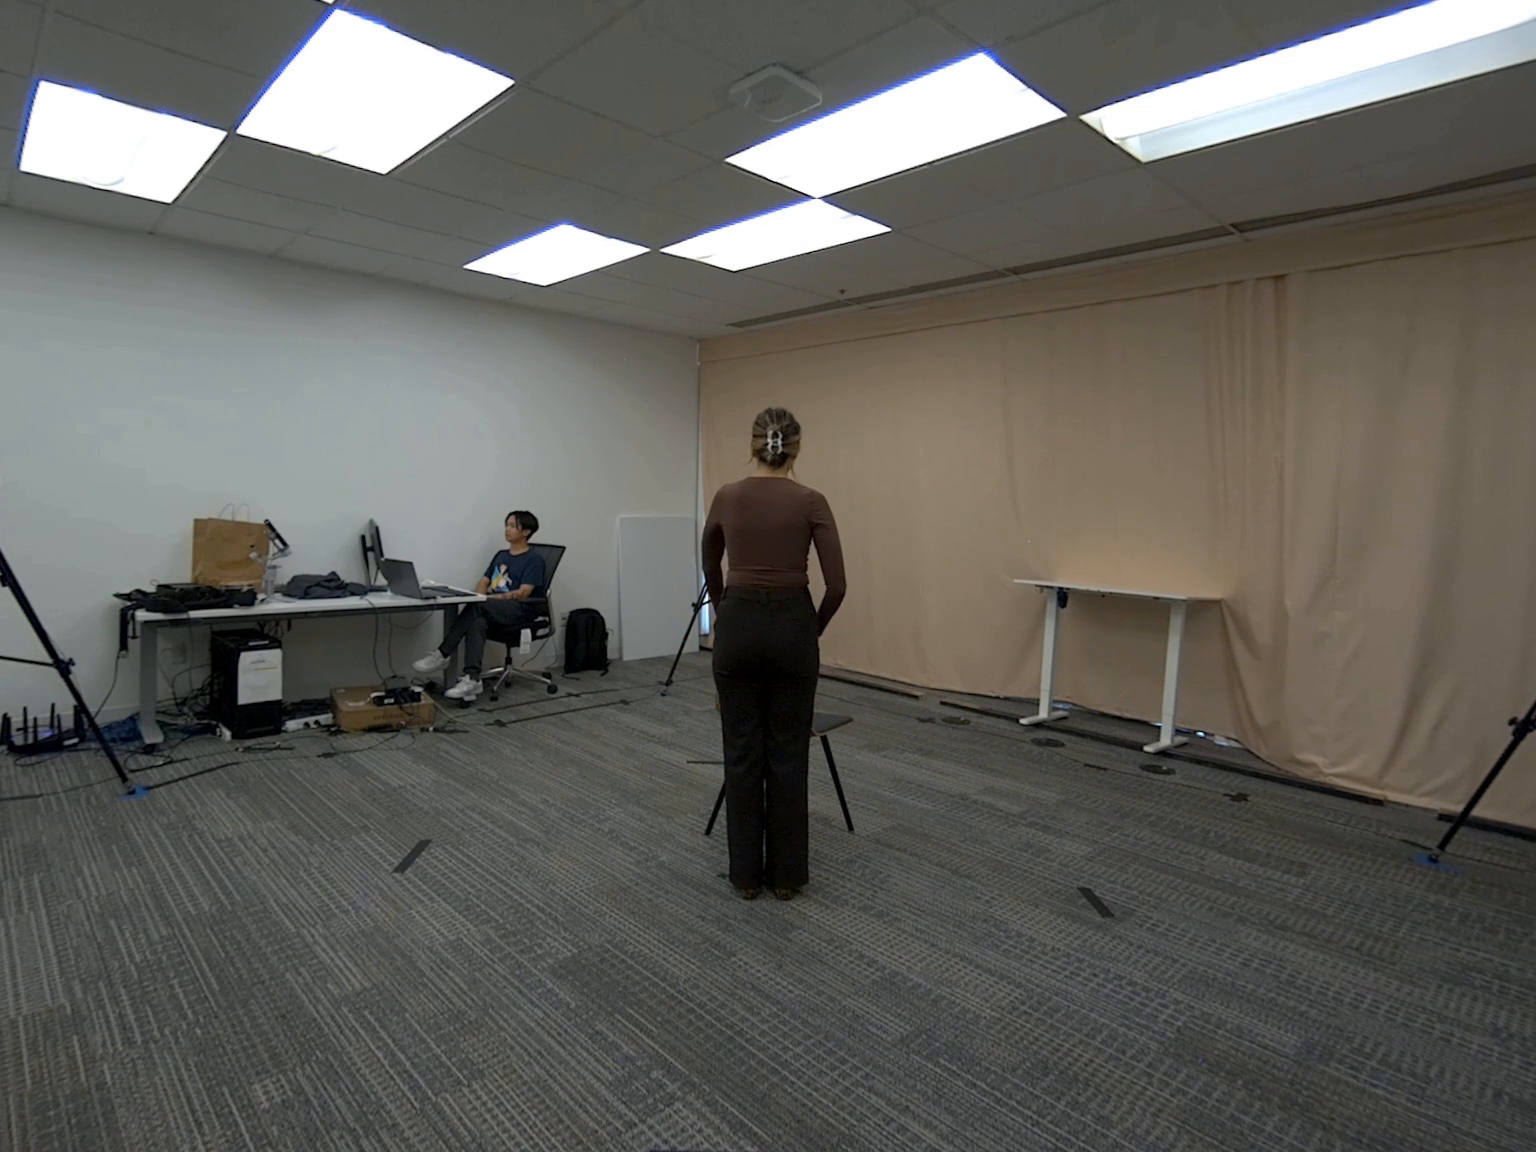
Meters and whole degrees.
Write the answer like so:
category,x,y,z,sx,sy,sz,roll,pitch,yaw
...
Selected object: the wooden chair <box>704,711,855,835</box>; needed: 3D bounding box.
category,x,y,z,sx,sy,sz,roll,pitch,yaw
wooden chair,0.055,0.652,3.503,0.489,0.873,0.513,3,8,36
